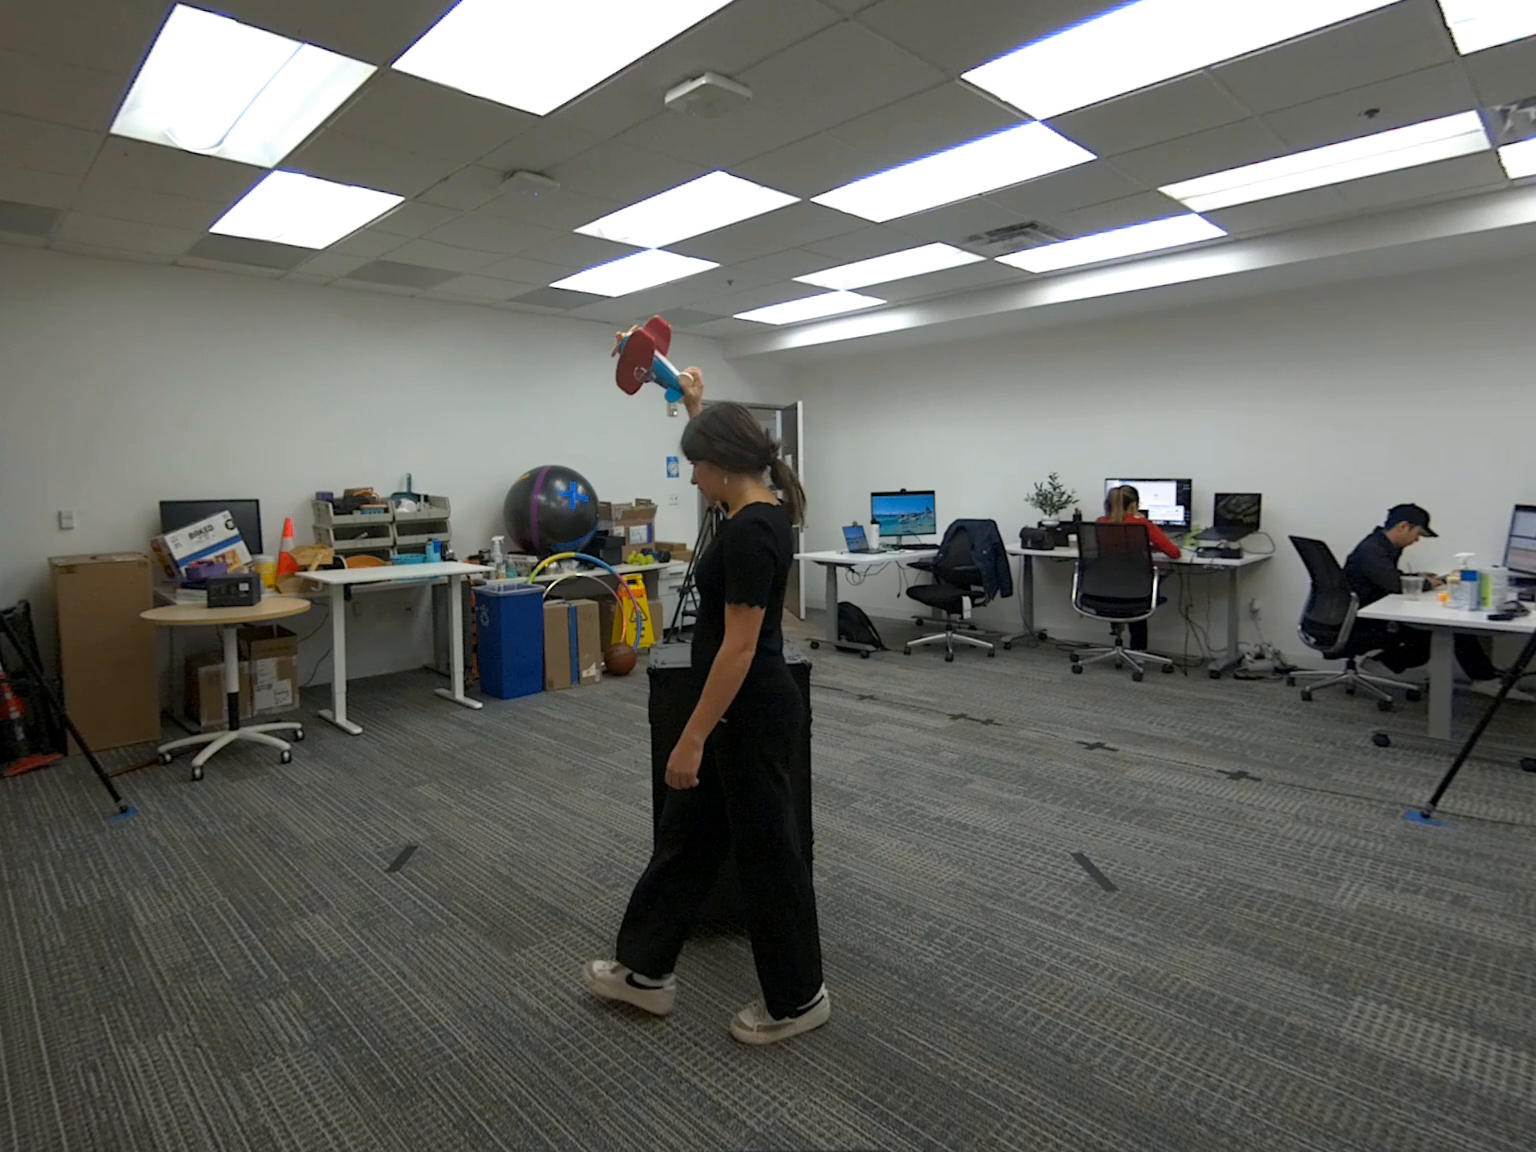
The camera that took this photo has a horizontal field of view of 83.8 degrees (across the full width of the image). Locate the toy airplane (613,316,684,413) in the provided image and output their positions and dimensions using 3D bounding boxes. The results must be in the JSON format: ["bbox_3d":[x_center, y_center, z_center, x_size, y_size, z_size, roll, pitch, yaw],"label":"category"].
[{"bbox_3d":[-0.318,-0.631,2.473,0.155,0.244,0.269,-31,50,-33],"label":"toy airplane"}]
